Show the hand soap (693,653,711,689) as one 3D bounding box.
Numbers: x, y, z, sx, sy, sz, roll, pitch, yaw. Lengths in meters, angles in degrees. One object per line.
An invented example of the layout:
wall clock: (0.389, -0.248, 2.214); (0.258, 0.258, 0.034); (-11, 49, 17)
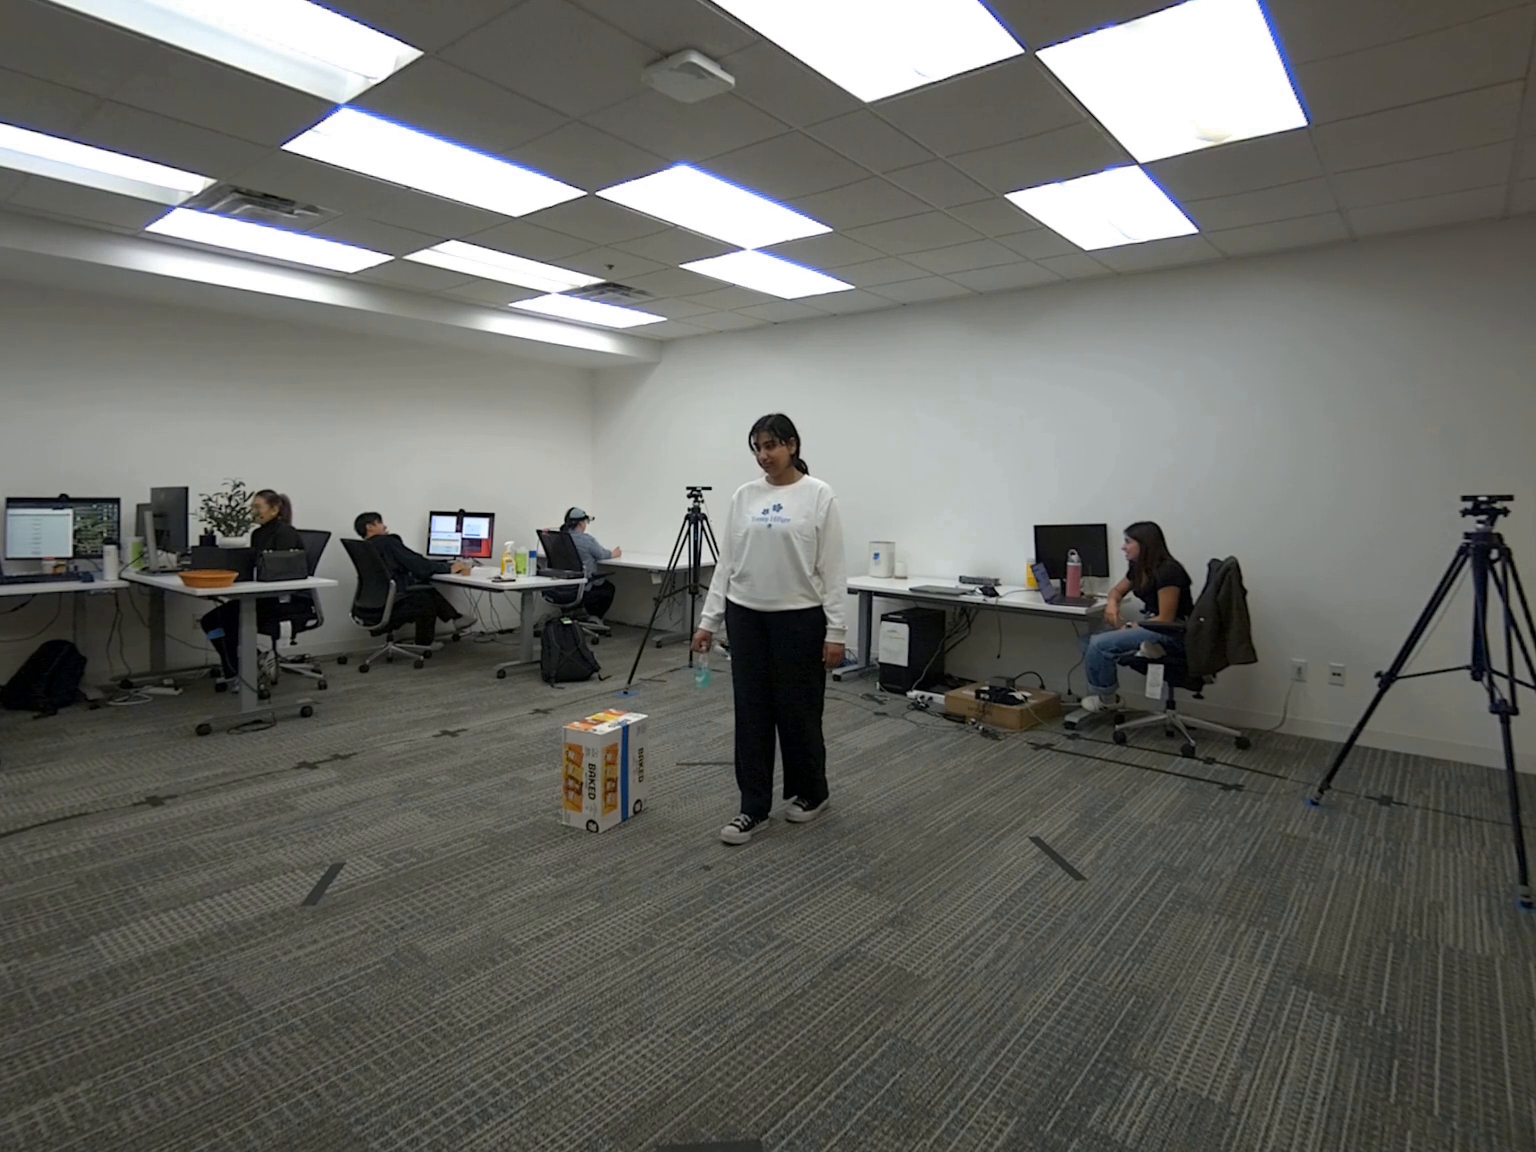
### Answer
hand soap: (-0.262, 0.379, 3.521); (0.042, 0.168, 0.087); (8, -3, -32)
